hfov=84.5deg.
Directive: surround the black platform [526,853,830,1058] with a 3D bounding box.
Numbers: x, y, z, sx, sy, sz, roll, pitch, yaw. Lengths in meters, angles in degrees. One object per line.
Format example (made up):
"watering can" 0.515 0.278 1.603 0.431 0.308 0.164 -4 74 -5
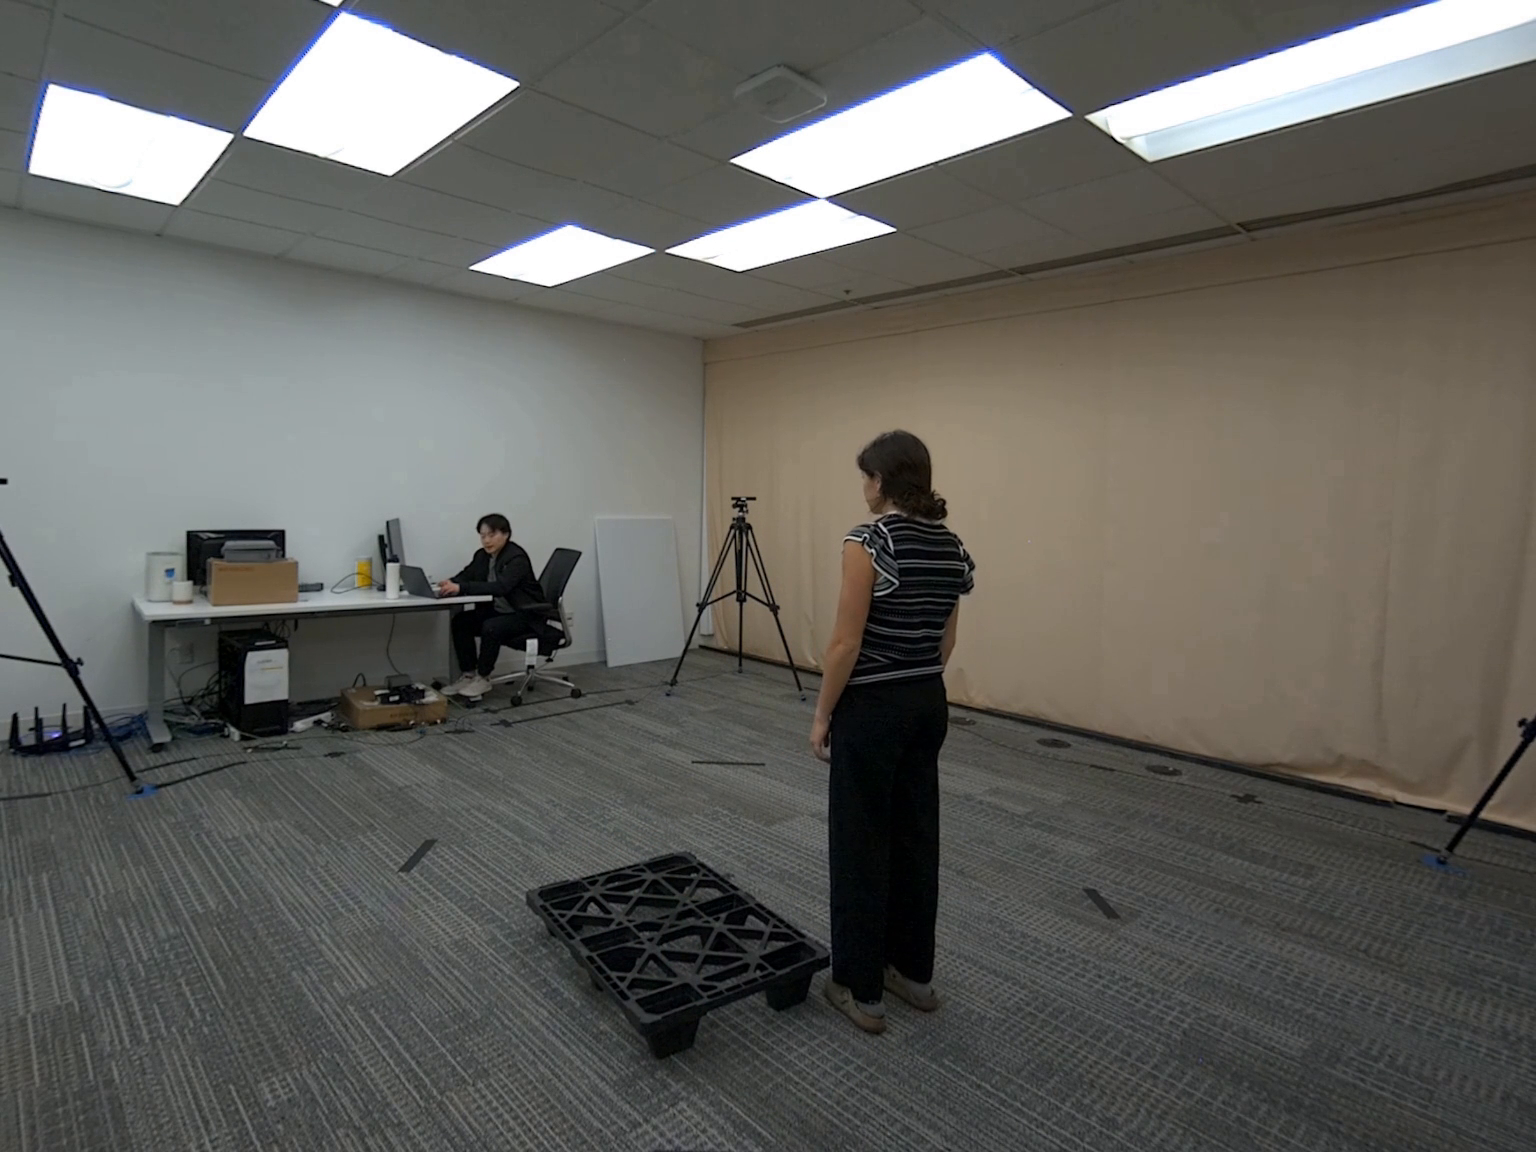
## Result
"black platform" -0.306 1.094 2.502 0.592 0.143 0.825 -4 7 -35
